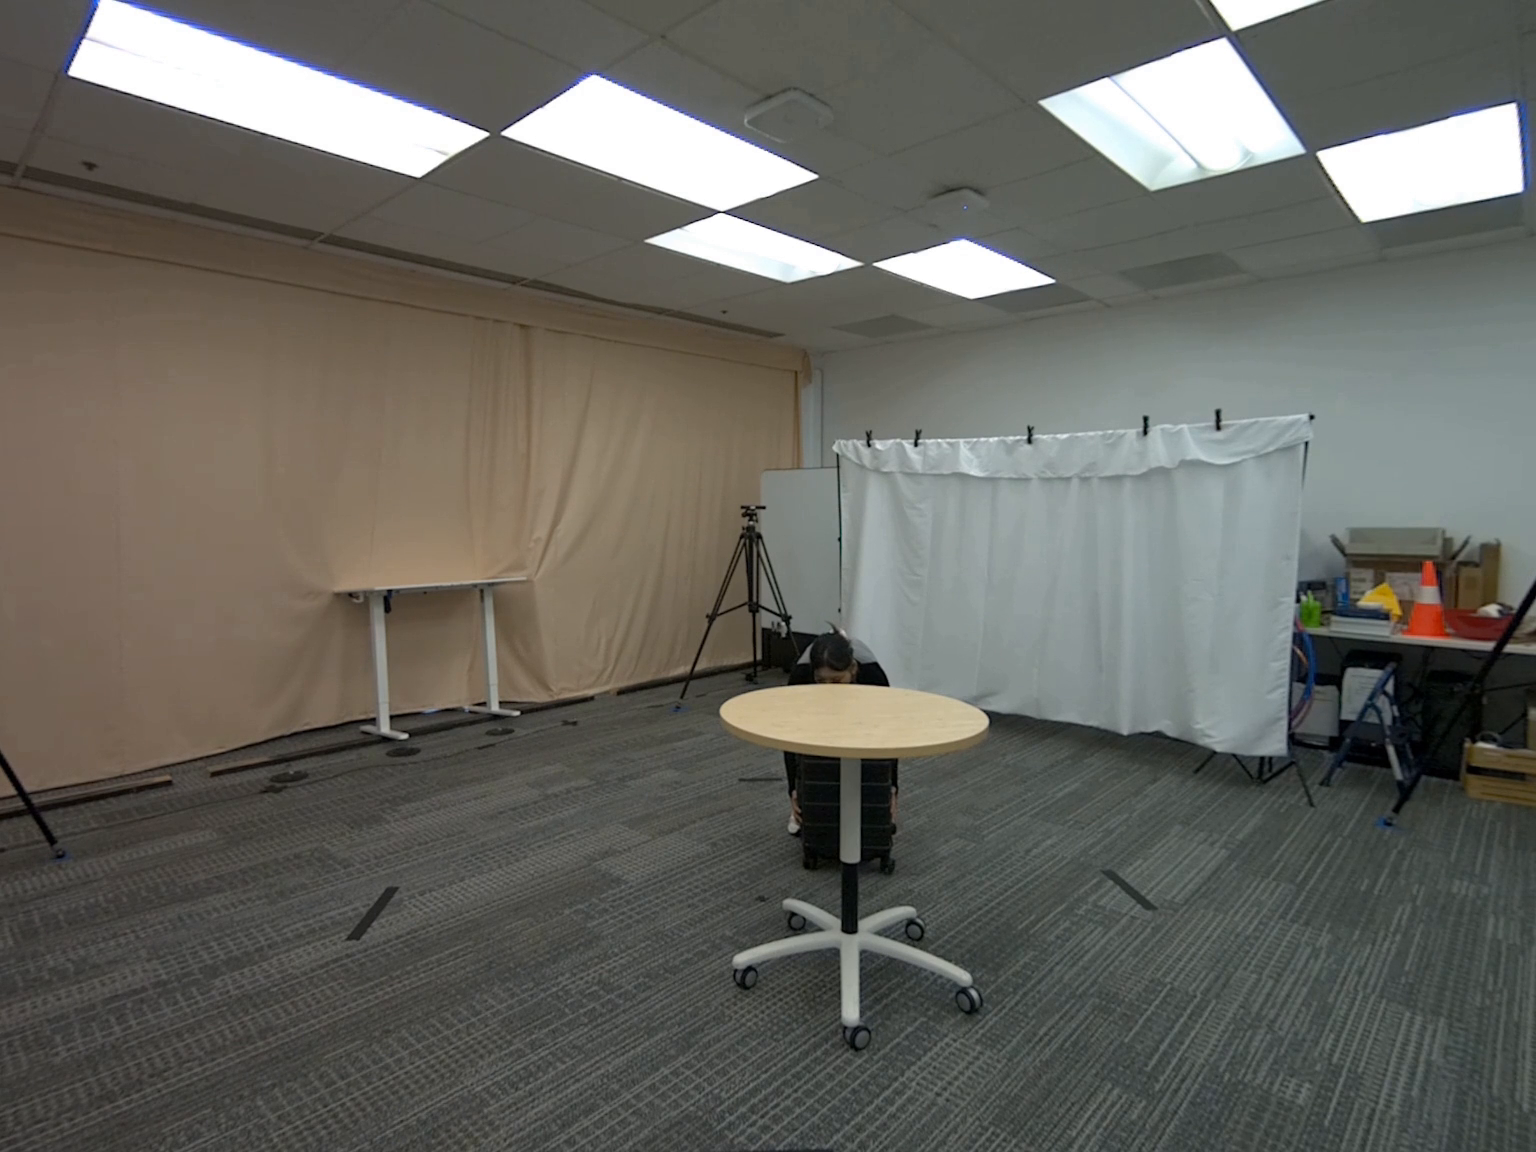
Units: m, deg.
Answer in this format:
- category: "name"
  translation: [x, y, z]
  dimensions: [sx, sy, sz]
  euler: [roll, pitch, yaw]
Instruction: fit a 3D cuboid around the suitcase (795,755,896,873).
- category: "suitcase"
  translation: [0.302, 0.837, 3.292]
  dimensions: [0.378, 0.550, 0.246]
  euler: [-2, -1, 6]
